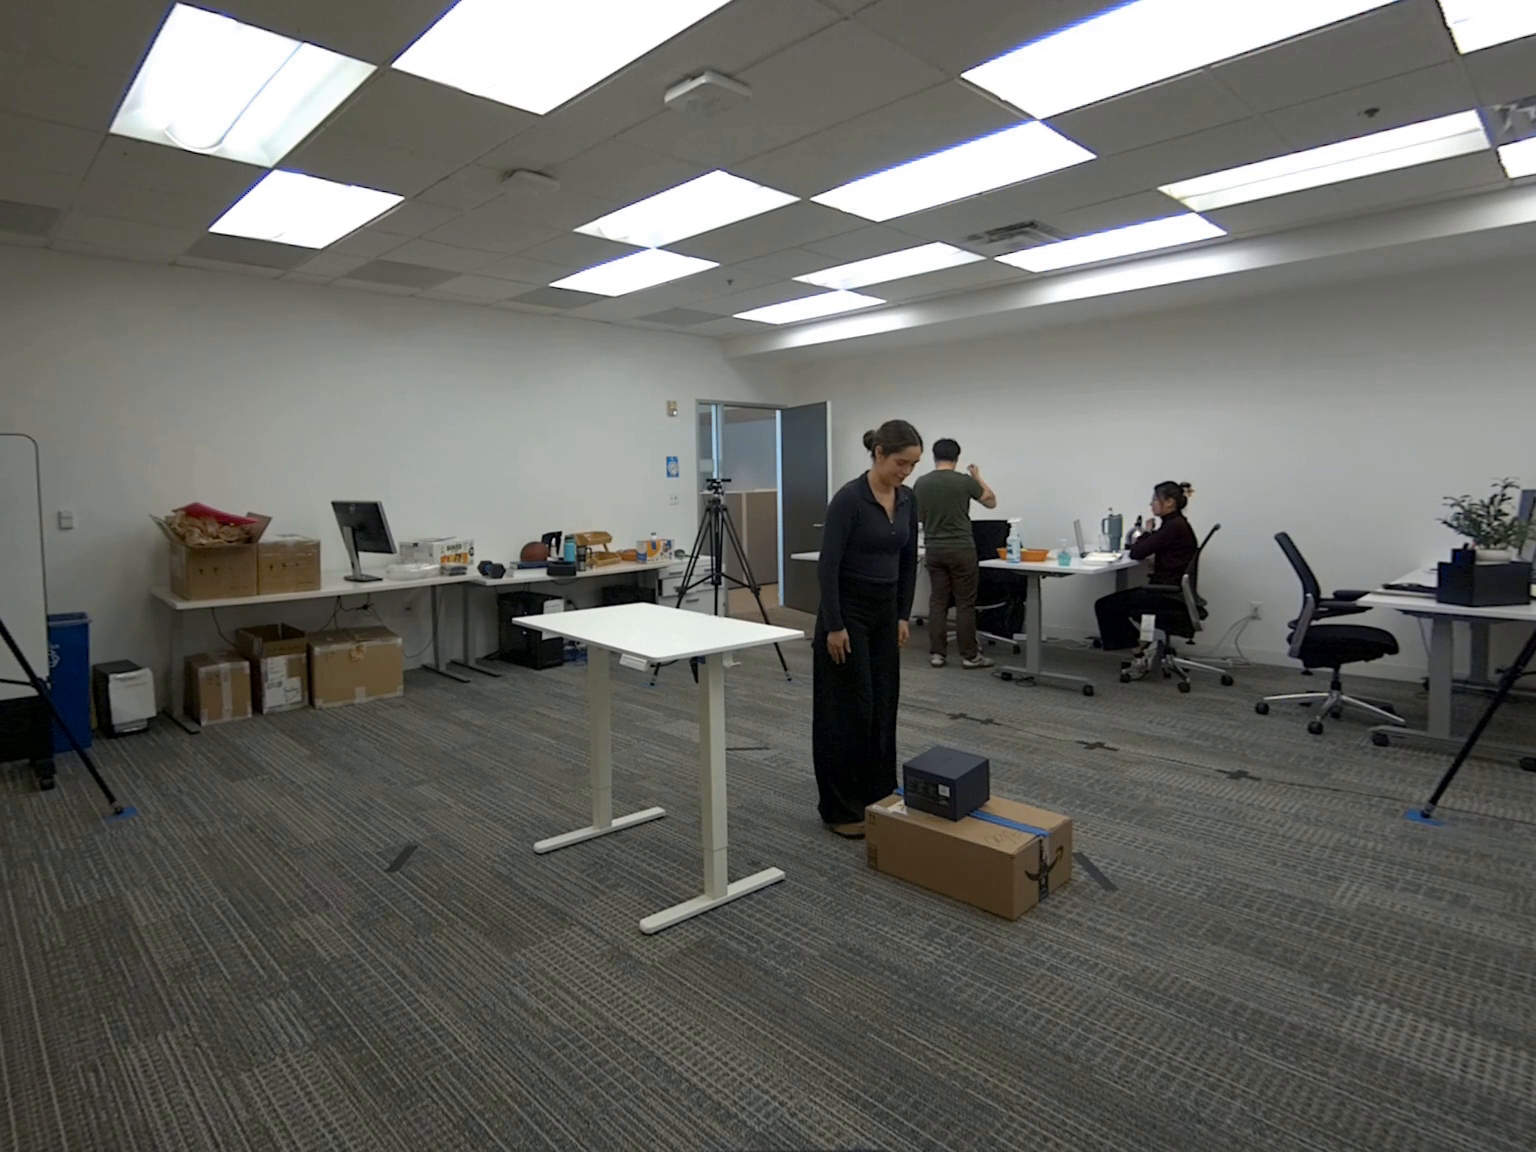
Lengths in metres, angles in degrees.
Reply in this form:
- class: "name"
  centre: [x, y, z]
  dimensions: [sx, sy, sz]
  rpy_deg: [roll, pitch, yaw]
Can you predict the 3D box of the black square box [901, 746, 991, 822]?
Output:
- class: "black square box"
  centre: [0.639, 0.733, 3.052]
  dimensions: [0.224, 0.155, 0.223]
  rpy_deg: [5, 13, 44]
